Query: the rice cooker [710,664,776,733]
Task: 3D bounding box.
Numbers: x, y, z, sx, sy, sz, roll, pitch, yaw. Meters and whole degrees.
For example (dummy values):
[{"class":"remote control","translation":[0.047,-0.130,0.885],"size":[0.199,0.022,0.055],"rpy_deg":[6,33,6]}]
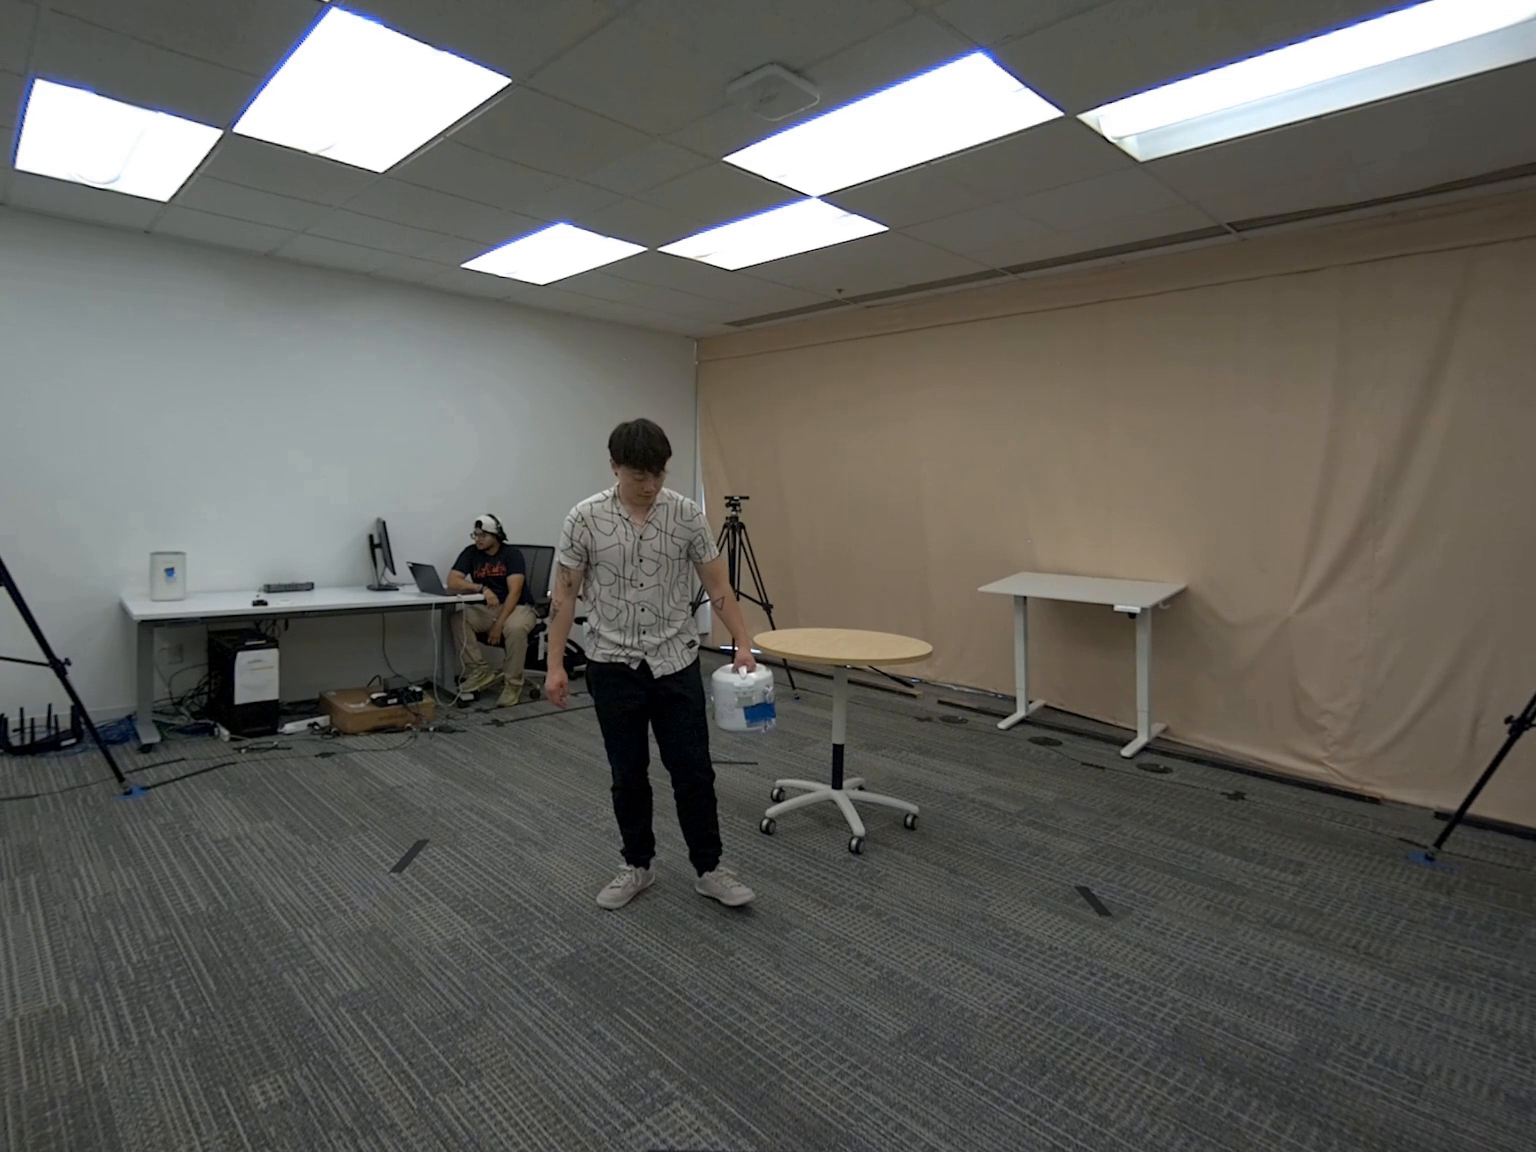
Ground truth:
[{"class":"rice cooker","translation":[-0.093,0.407,2.881],"size":[0.217,0.231,0.222],"rpy_deg":[-2,8,-2]}]
